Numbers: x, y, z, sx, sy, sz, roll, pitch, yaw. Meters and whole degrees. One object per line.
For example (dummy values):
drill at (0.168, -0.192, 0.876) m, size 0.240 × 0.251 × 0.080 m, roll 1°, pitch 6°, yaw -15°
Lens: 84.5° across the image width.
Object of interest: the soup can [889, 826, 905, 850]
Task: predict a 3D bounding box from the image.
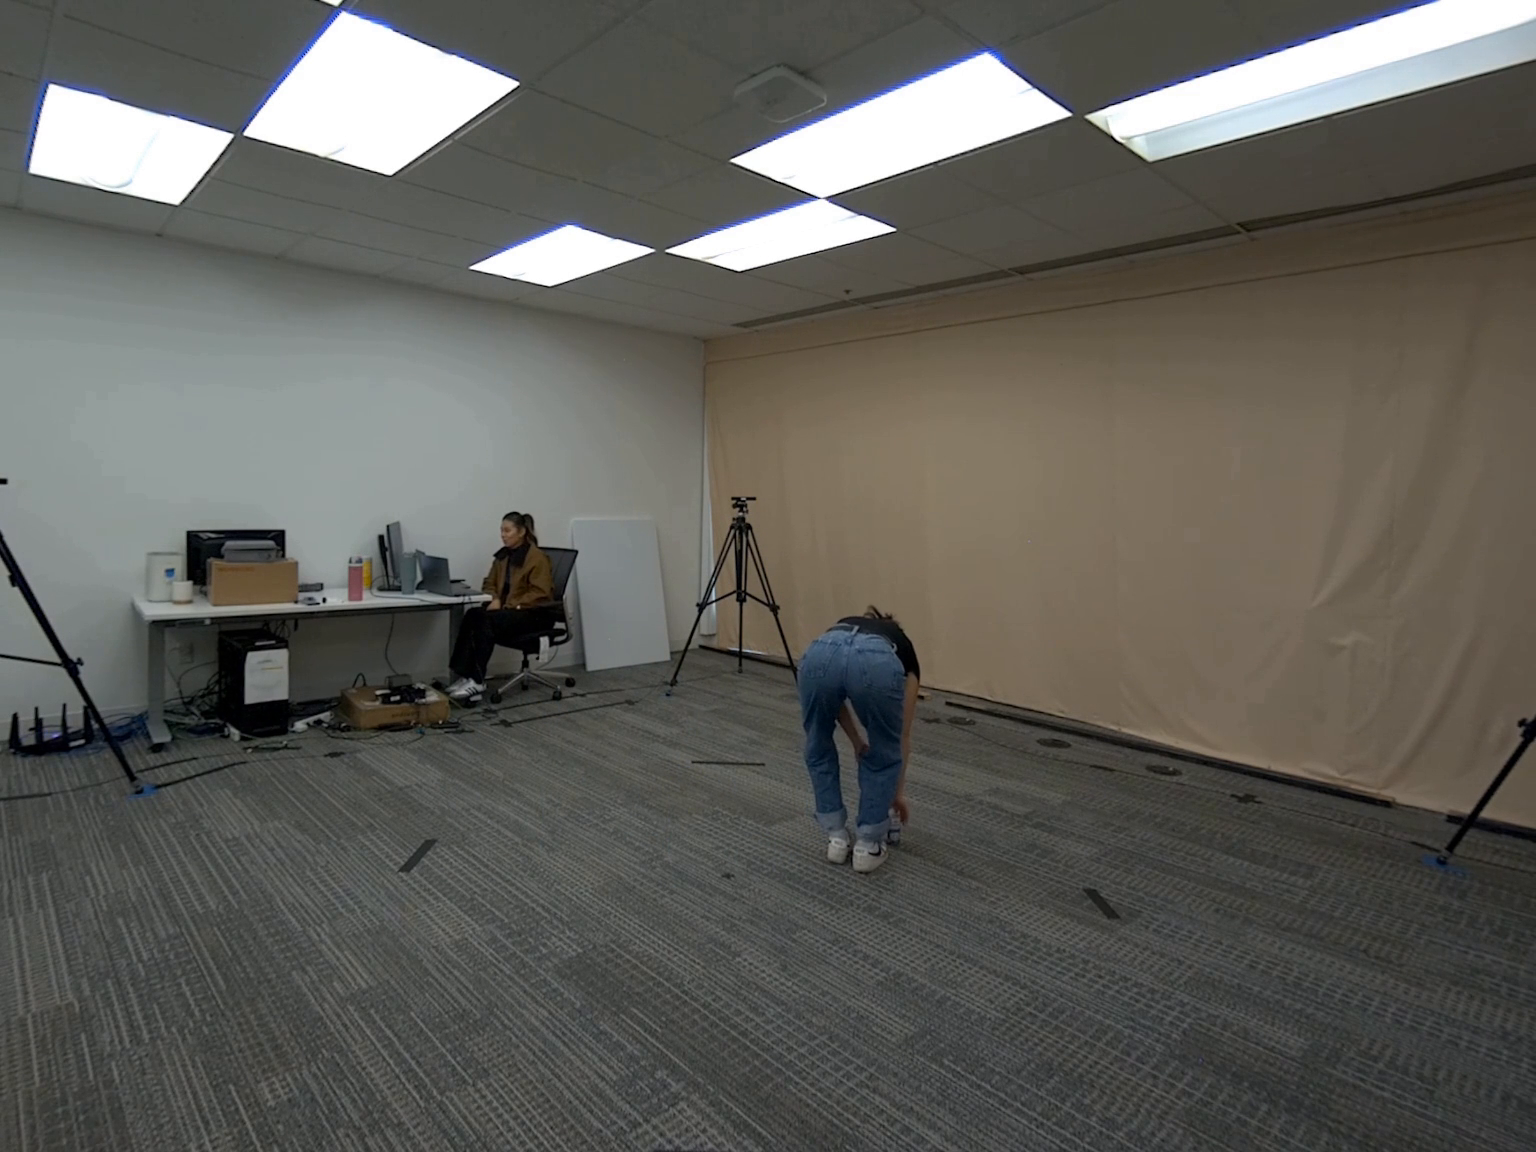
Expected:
soup can at (0.510, 1.037, 3.445) m, size 0.067 × 0.121 × 0.067 m, roll 2°, pitch 4°, yaw -2°
